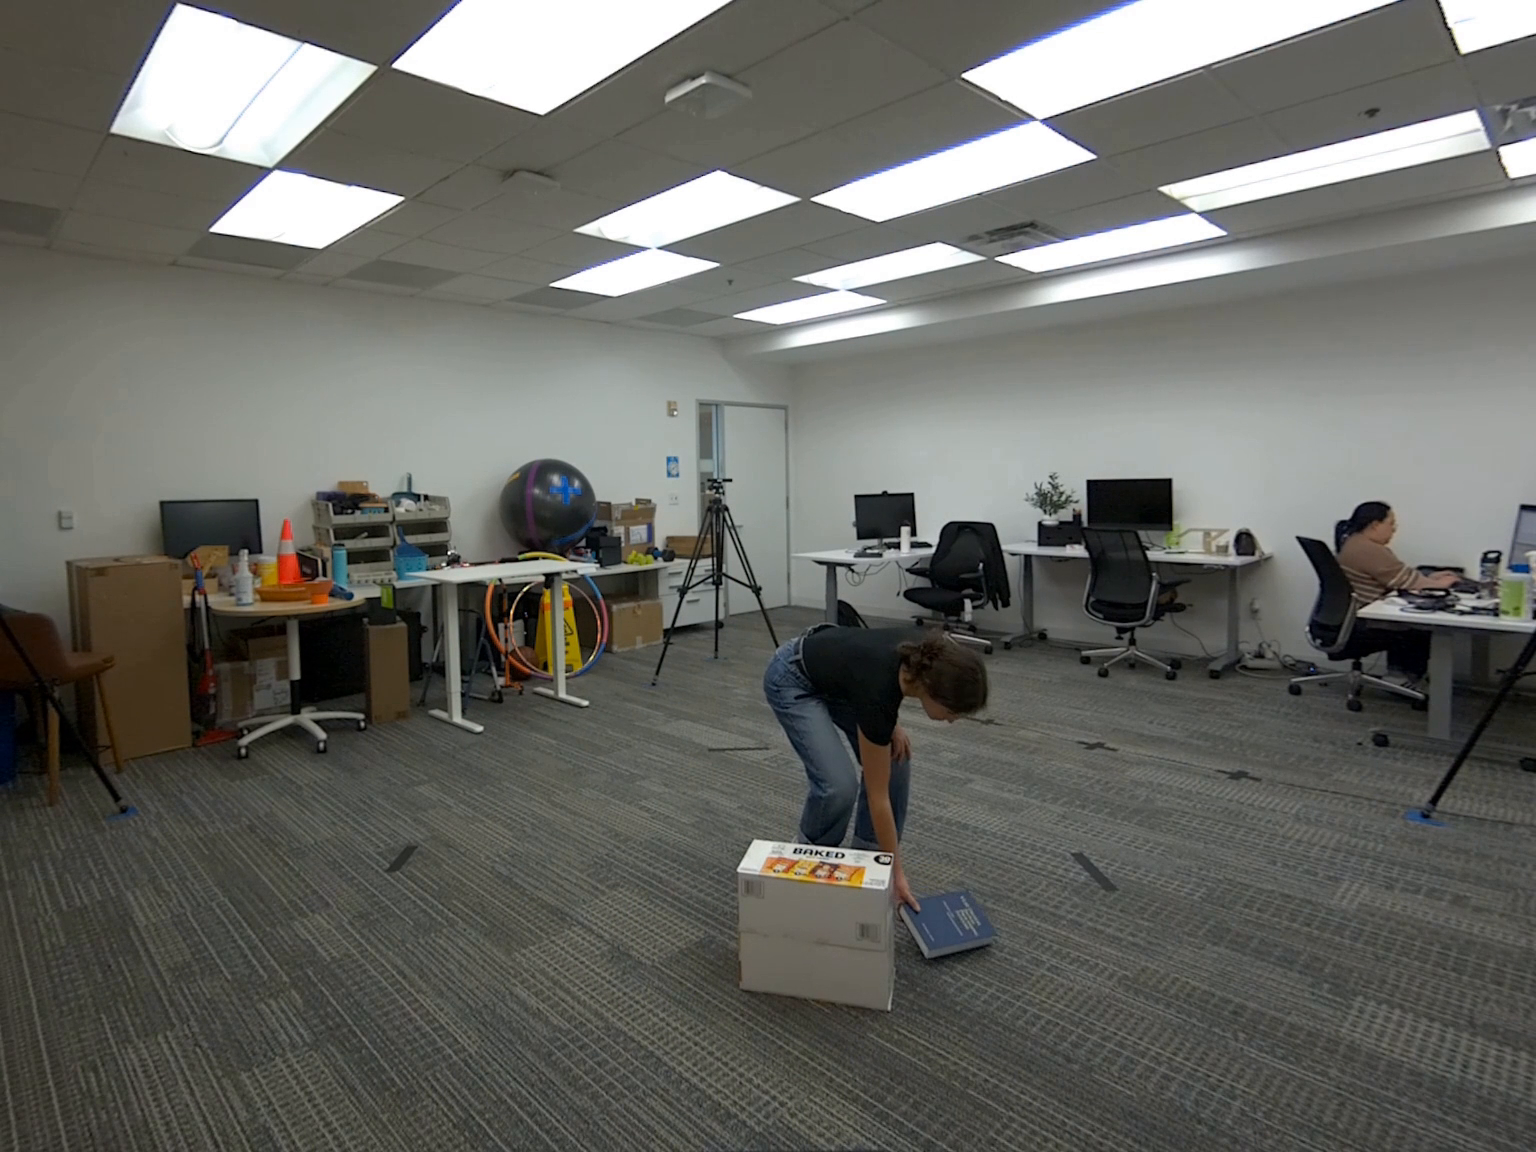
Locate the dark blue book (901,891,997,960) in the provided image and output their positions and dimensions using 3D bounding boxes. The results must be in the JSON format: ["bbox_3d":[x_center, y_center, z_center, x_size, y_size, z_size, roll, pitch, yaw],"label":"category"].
[{"bbox_3d":[0.546,1.035,2.526,0.240,0.044,0.170,-2,34,-26],"label":"dark blue book"}]
